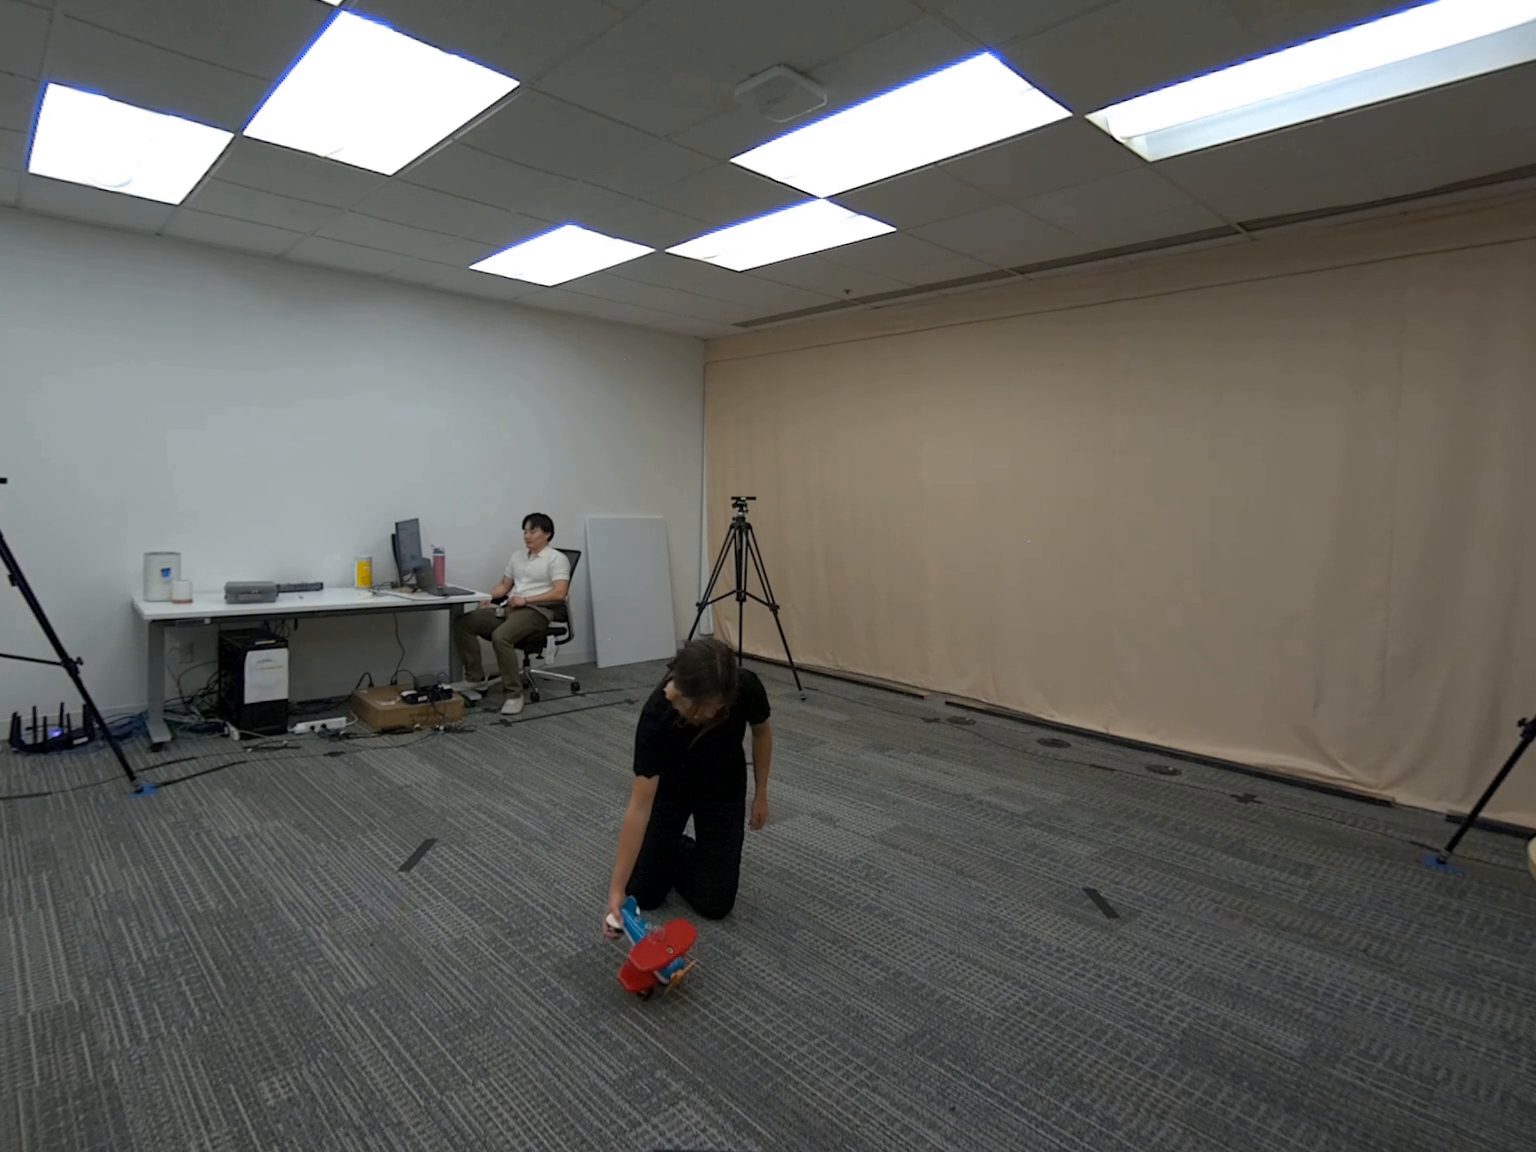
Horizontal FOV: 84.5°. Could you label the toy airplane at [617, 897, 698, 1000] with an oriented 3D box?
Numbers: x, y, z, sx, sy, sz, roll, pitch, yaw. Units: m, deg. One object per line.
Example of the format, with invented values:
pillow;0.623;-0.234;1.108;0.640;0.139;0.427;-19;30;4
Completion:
toy airplane;-0.361;1.058;2.358;0.258;0.156;0.253;40;25;-6
